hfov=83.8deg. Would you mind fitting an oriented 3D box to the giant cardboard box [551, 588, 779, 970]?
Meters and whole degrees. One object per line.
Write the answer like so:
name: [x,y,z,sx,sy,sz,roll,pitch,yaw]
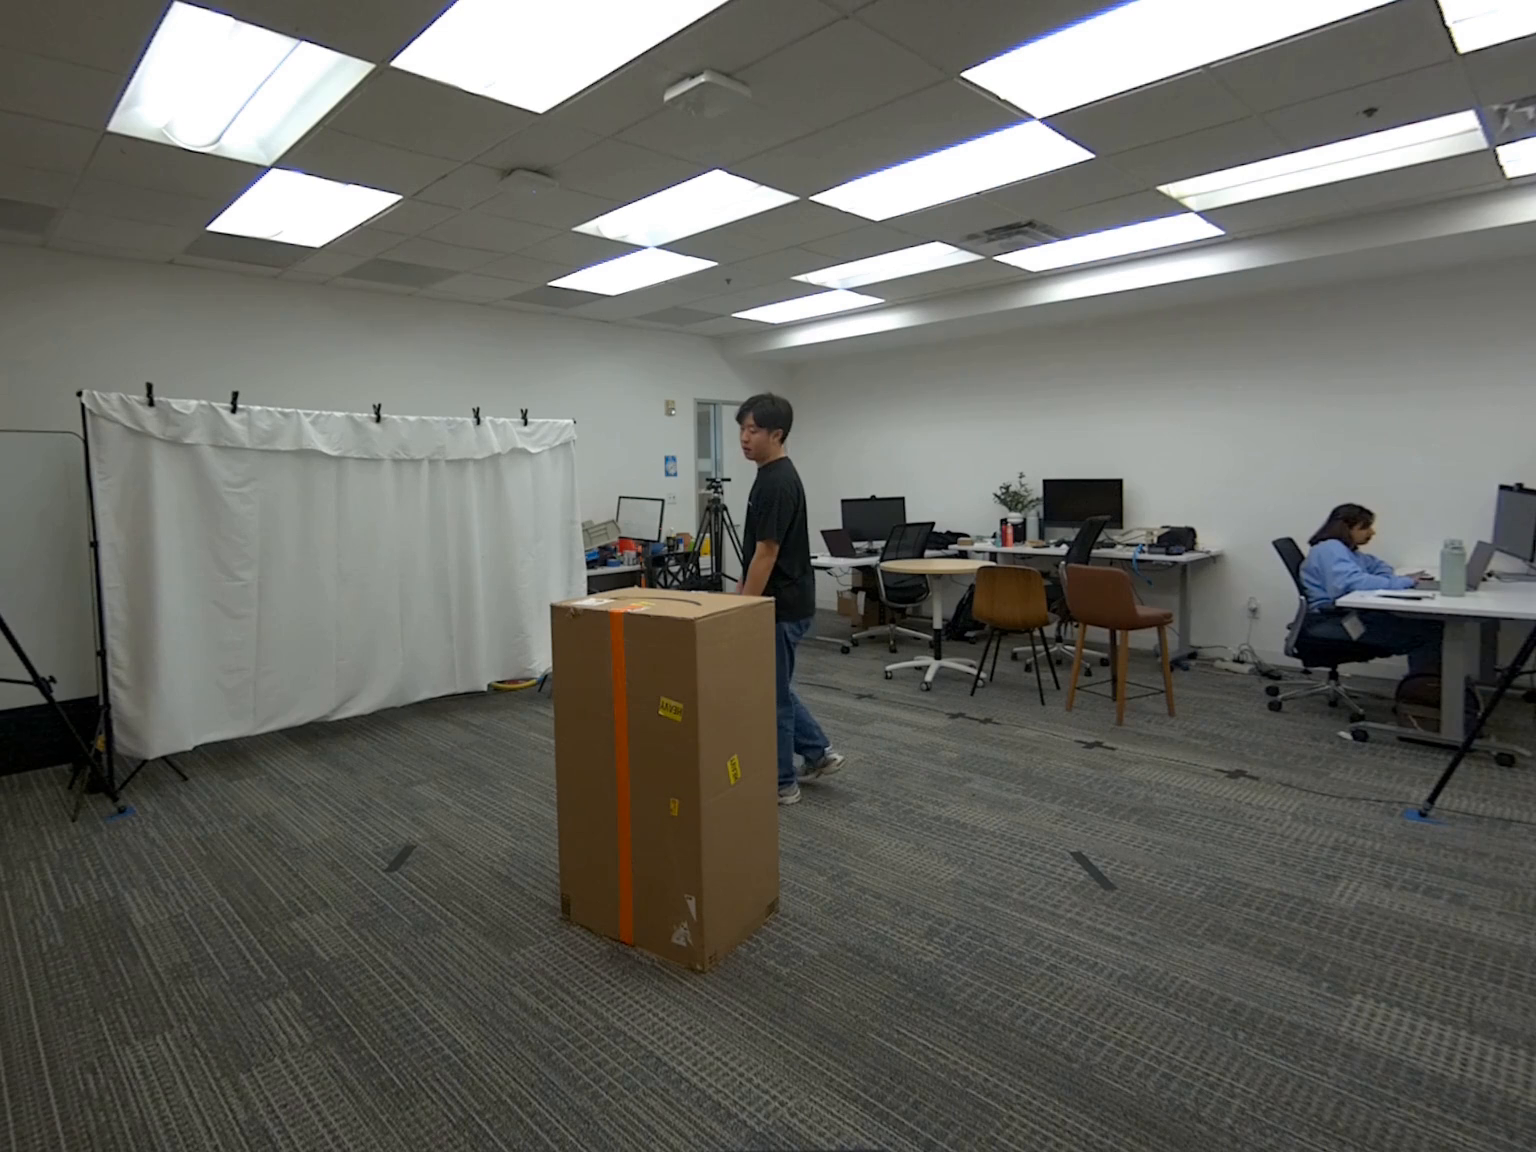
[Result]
giant cardboard box: [-0.324,0.581,2.712,0.601,1.022,0.436,2,6,35]
